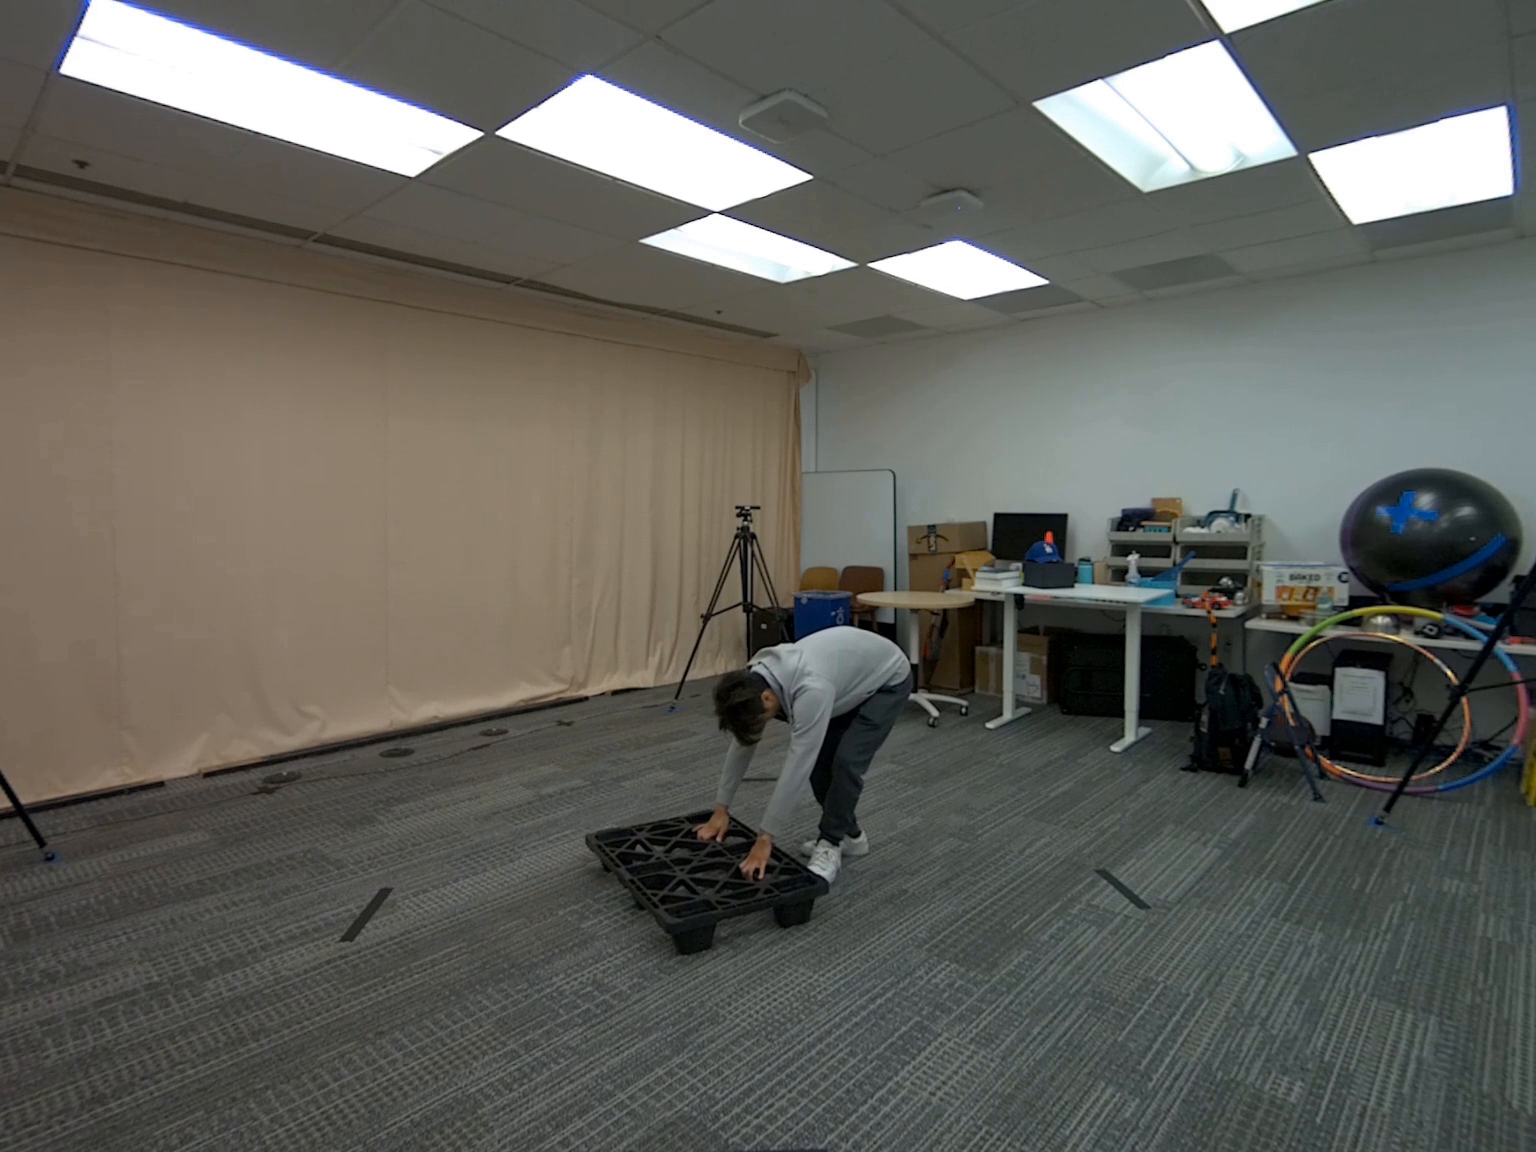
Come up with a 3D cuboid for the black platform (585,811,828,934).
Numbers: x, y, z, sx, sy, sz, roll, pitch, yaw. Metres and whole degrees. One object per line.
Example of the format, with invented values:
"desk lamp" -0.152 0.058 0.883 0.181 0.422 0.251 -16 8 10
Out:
"black platform" -0.248 1.074 3.032 0.589 0.143 0.829 -2 5 -29
